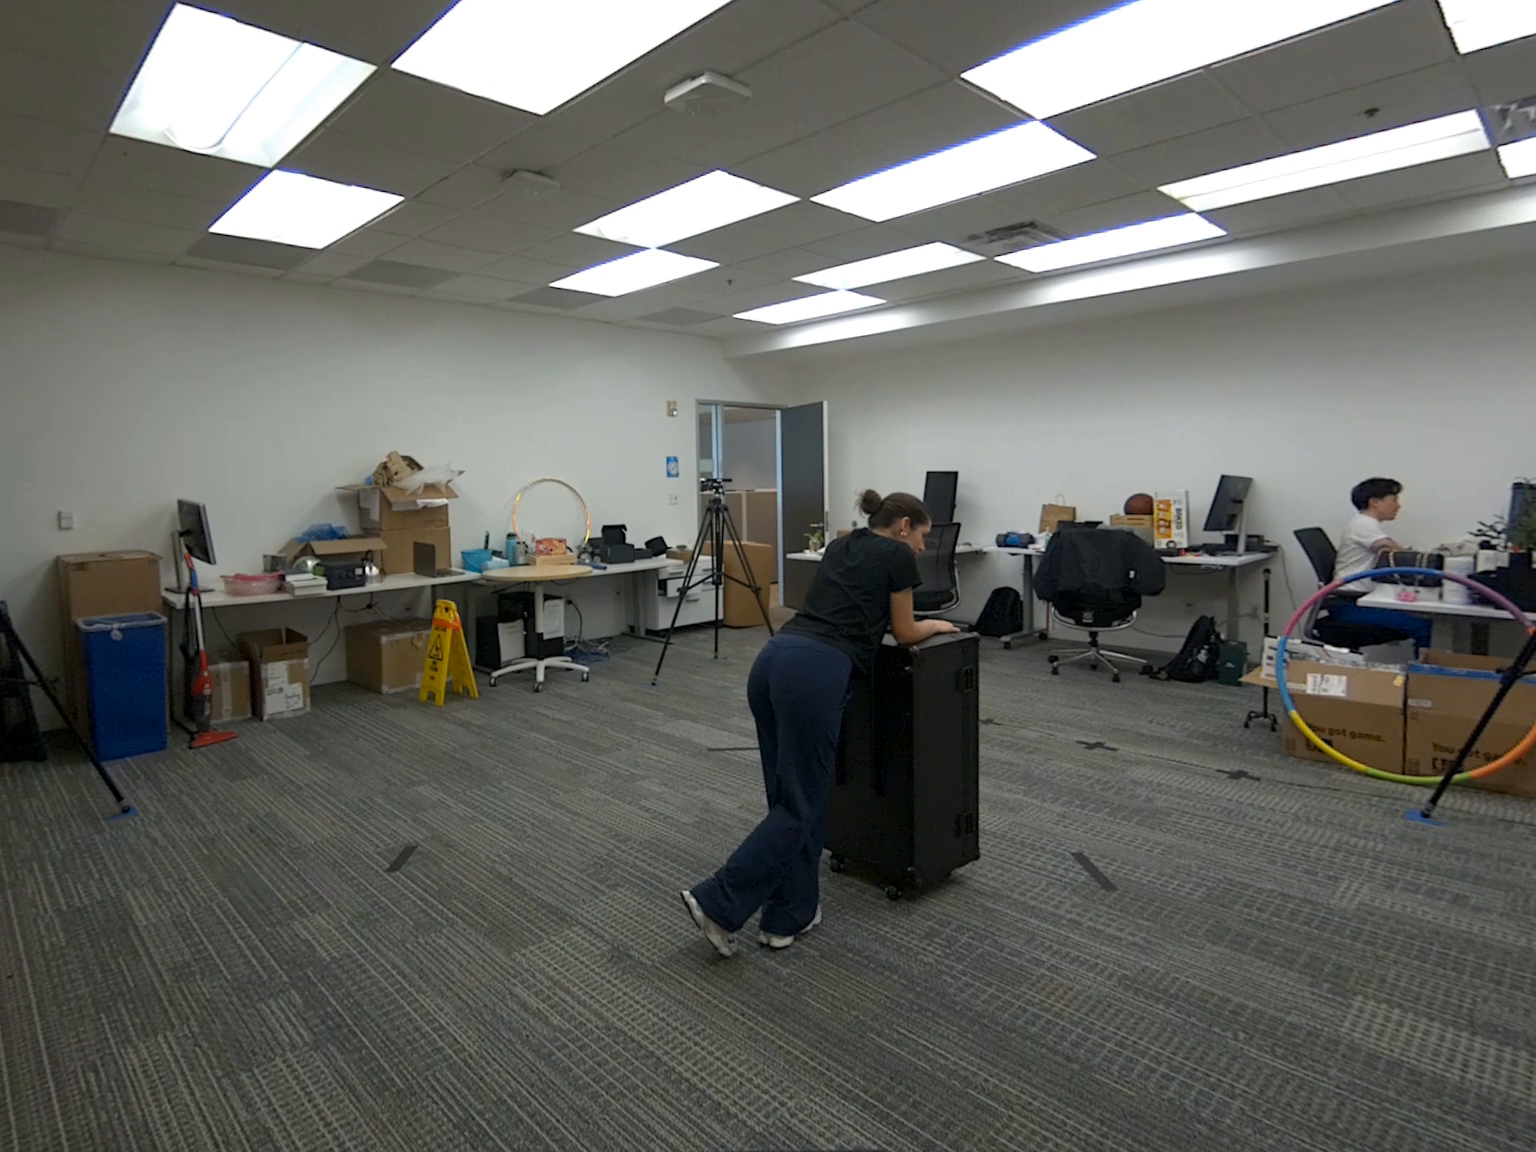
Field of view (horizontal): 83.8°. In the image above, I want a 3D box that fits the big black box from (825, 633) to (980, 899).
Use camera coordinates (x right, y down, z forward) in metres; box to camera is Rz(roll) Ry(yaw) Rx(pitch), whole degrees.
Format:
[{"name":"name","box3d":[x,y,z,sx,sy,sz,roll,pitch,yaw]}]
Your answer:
[{"name":"big black box","box3d":[0.428,0.565,3.021,0.385,0.859,0.537,-3,5,-40]}]
